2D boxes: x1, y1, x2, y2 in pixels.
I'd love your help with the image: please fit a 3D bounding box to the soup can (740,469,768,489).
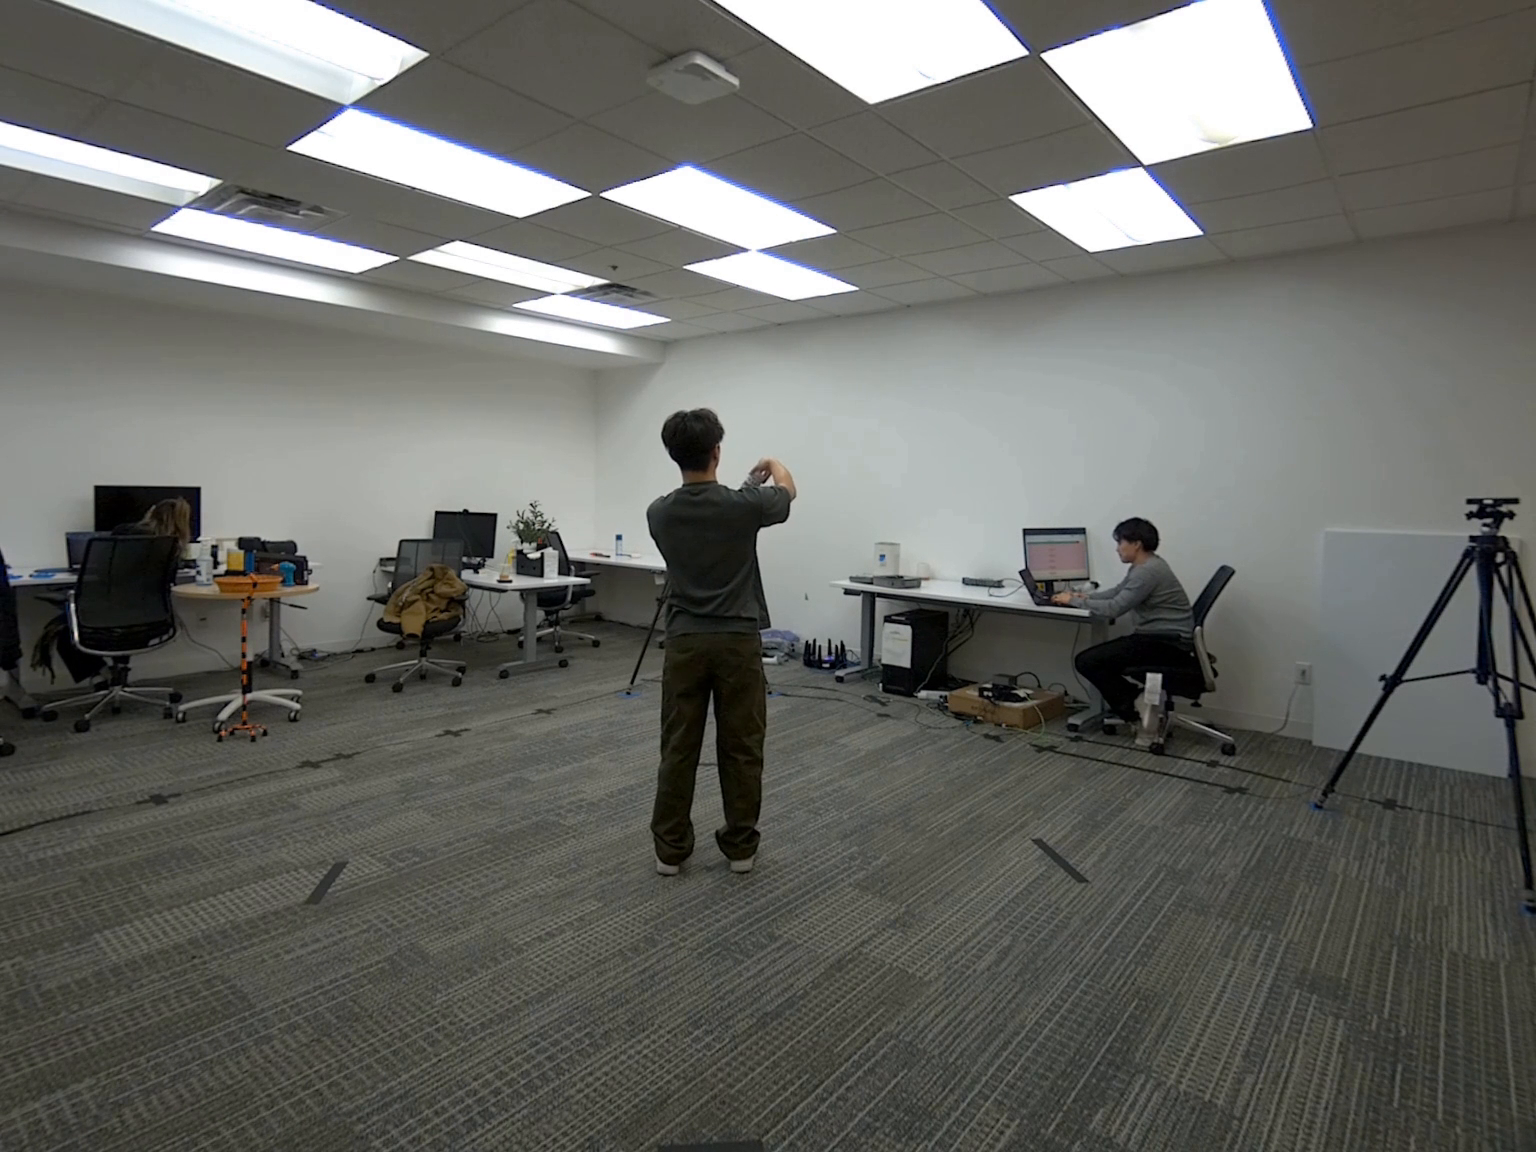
[{"bbox_3d":[-0.080,-0.390,3.574,0.066,0.120,0.068,22,19,-10],"label":"soup can"}]
